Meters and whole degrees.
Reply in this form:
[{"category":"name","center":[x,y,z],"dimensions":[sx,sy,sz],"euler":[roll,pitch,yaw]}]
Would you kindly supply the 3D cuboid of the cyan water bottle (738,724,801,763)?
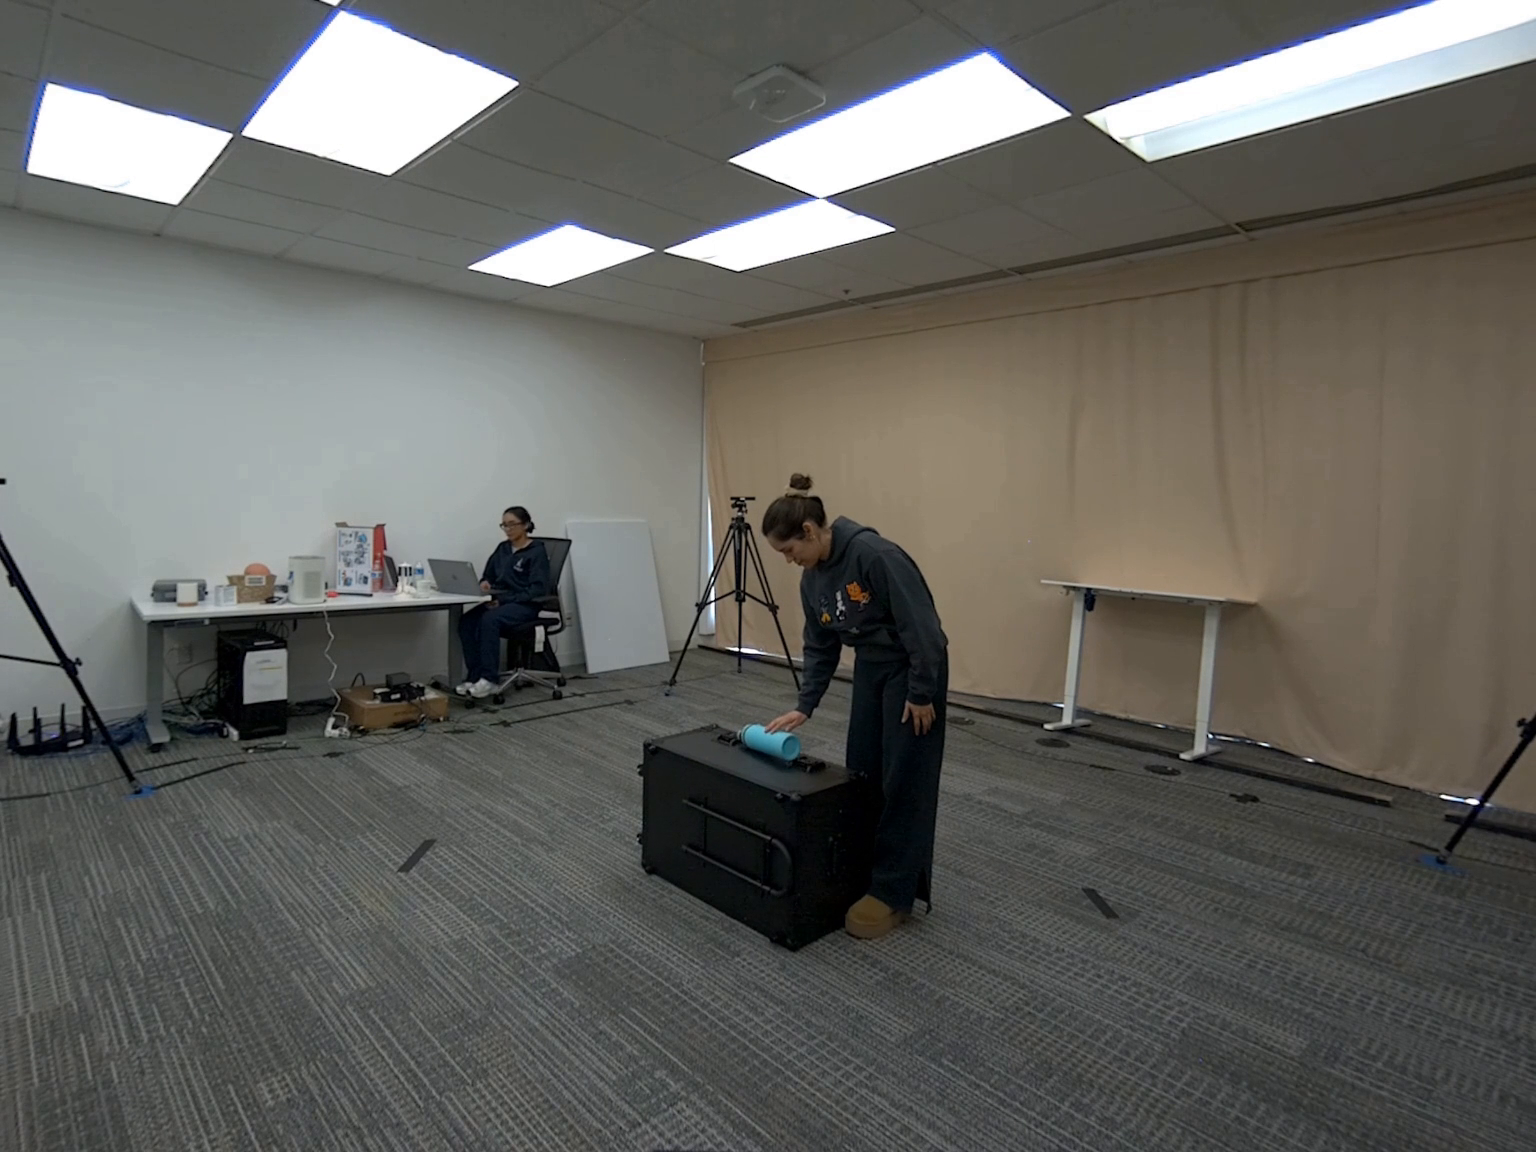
[{"category":"cyan water bottle","center":[-0.009,0.582,3.008],"dimensions":[0.090,0.092,0.289],"euler":[-2,1,-36]}]
